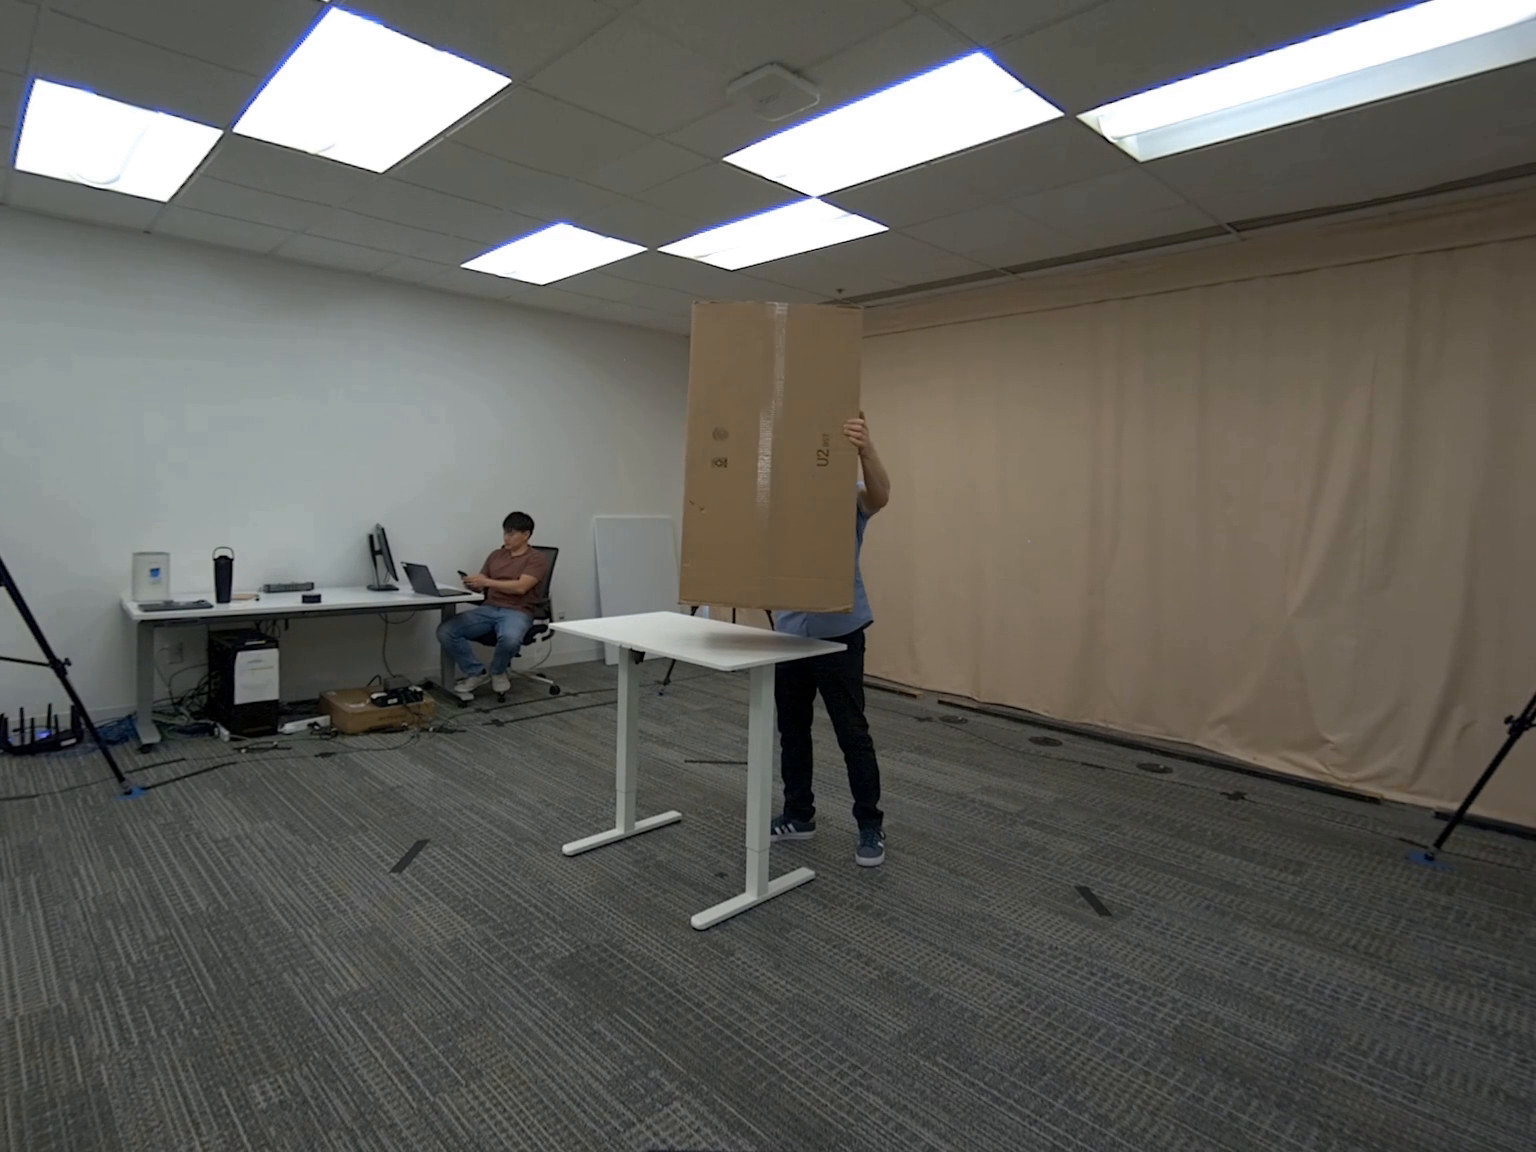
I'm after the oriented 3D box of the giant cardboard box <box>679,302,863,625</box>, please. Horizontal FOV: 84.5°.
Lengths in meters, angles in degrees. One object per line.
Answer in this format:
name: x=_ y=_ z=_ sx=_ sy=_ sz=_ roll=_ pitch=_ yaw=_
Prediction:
giant cardboard box: x=0.006 y=-0.388 z=2.971 sx=0.579 sy=1.029 sz=0.424 roll=2 pitch=-4 yaw=3
